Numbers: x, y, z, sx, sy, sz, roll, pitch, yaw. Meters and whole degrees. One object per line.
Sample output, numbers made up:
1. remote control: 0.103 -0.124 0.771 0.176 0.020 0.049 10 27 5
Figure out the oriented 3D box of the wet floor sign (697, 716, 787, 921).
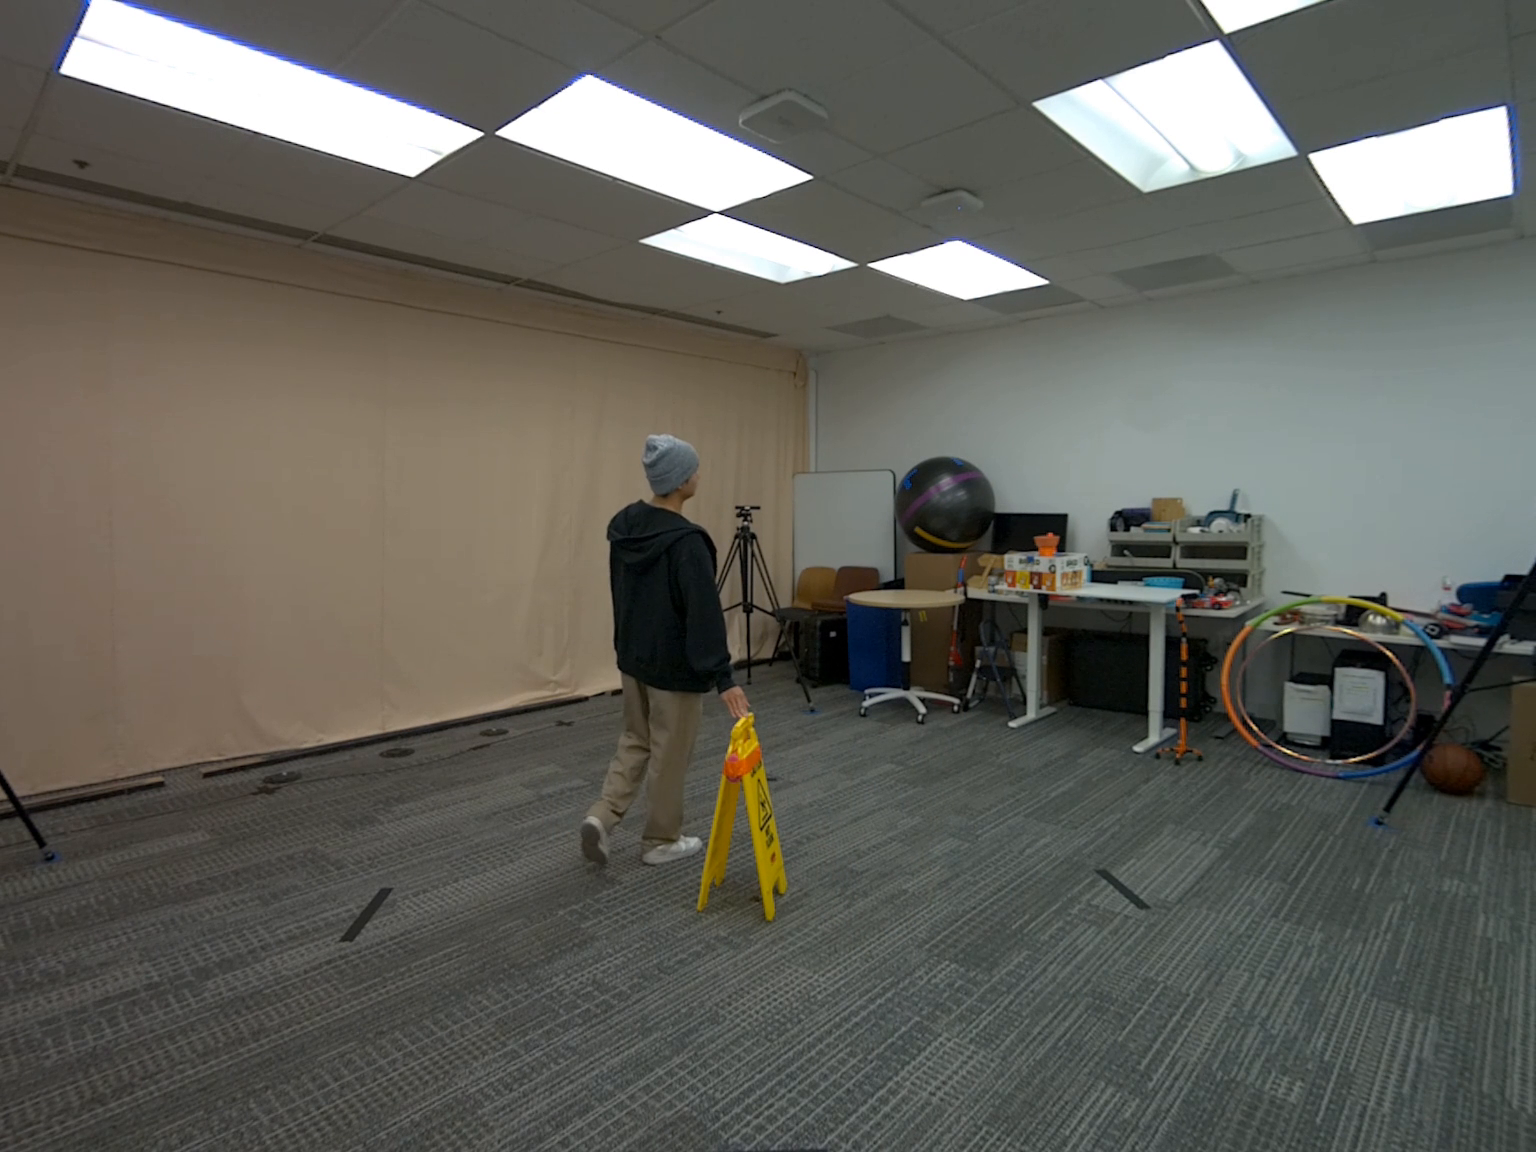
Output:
1. wet floor sign: -0.089 0.824 2.965 0.295 0.645 0.278 1 2 15
